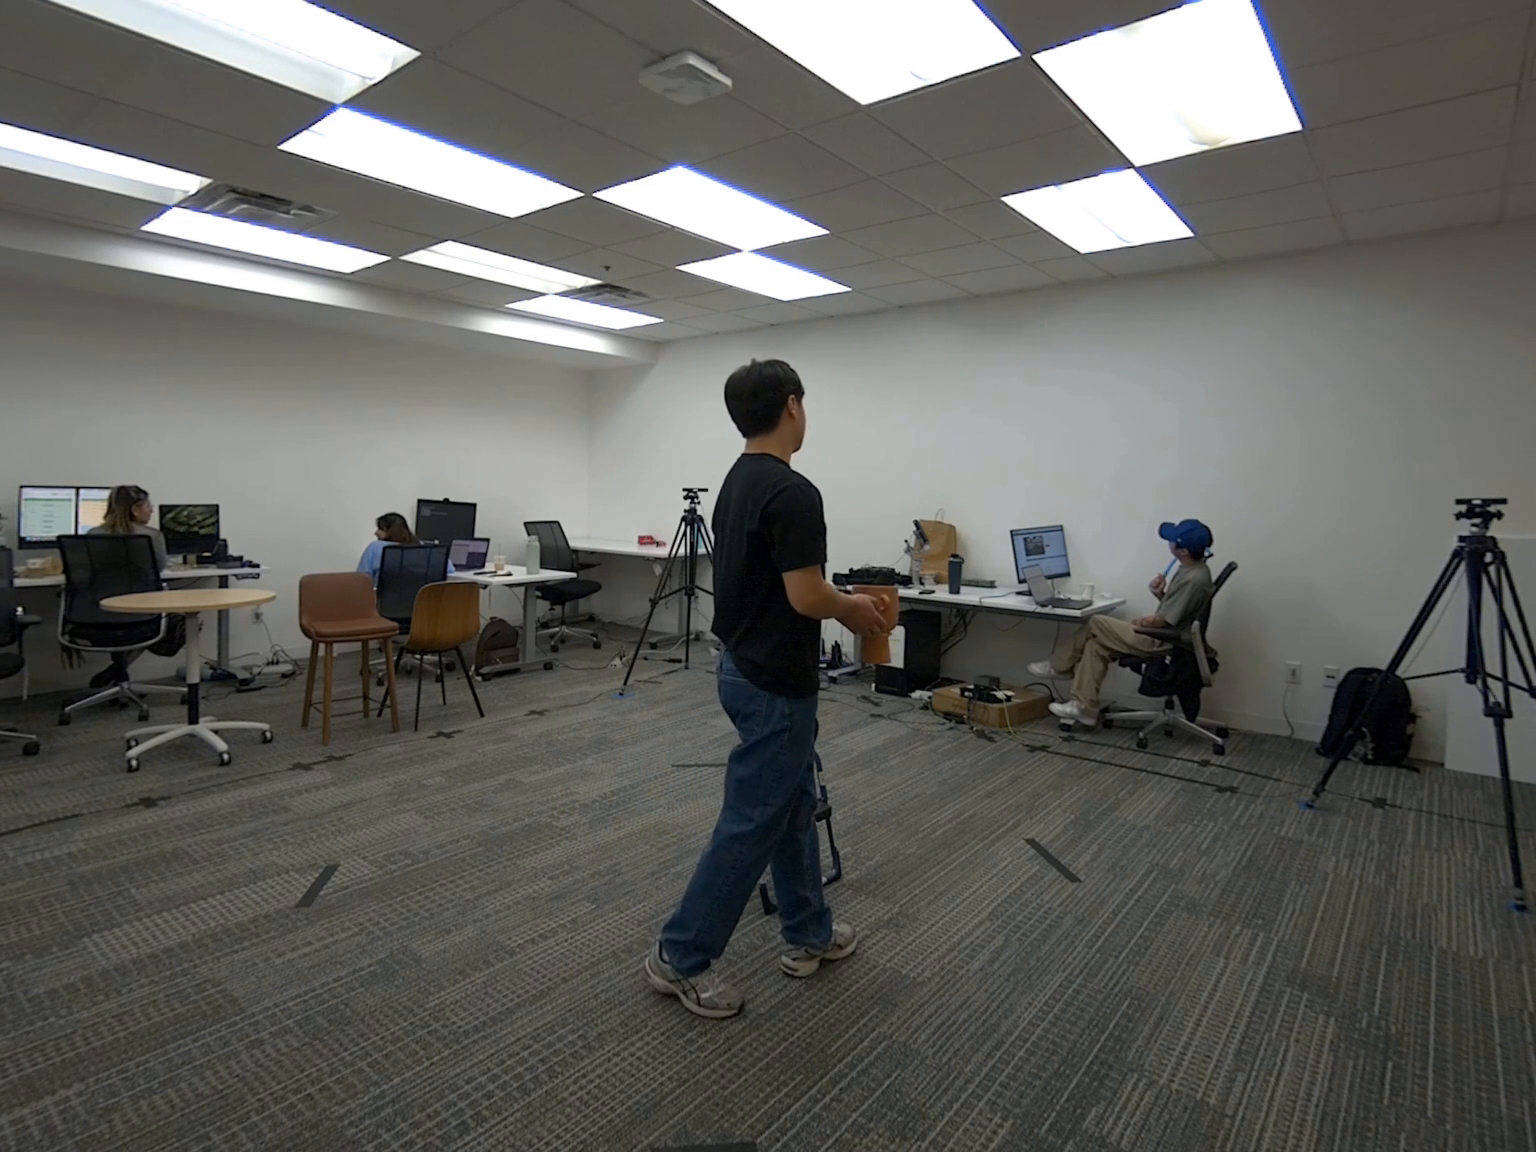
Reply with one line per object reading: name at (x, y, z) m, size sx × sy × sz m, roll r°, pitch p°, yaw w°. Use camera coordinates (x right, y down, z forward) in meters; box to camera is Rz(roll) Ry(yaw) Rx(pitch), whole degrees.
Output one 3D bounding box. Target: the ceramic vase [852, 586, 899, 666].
ceramic vase at (0.301, 0.134, 2.462) m, size 0.138 × 0.220 × 0.155 m, roll 1°, pitch 1°, yaw 25°
